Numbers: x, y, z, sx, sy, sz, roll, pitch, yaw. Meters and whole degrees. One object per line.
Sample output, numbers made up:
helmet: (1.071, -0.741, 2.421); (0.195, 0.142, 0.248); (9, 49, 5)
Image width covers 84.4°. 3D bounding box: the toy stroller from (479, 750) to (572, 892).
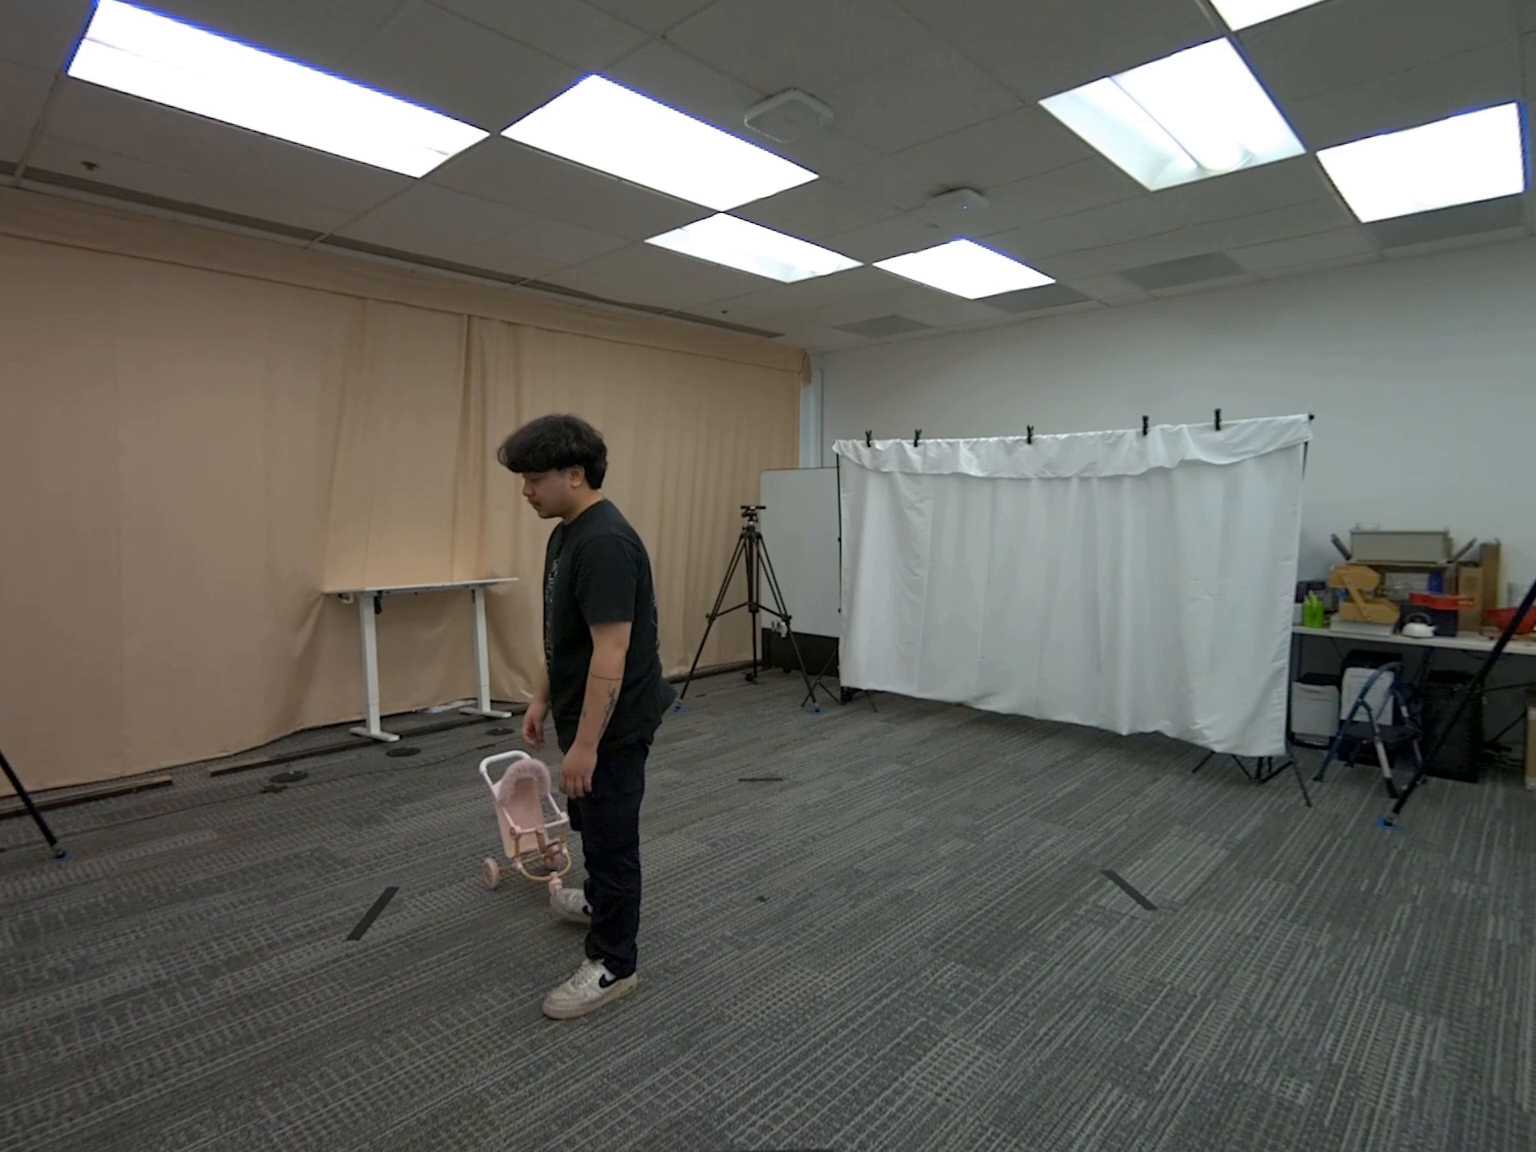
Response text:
toy stroller: (-0.887, 0.923, 3.106); (0.273, 0.539, 0.349); (-3, -11, -39)
